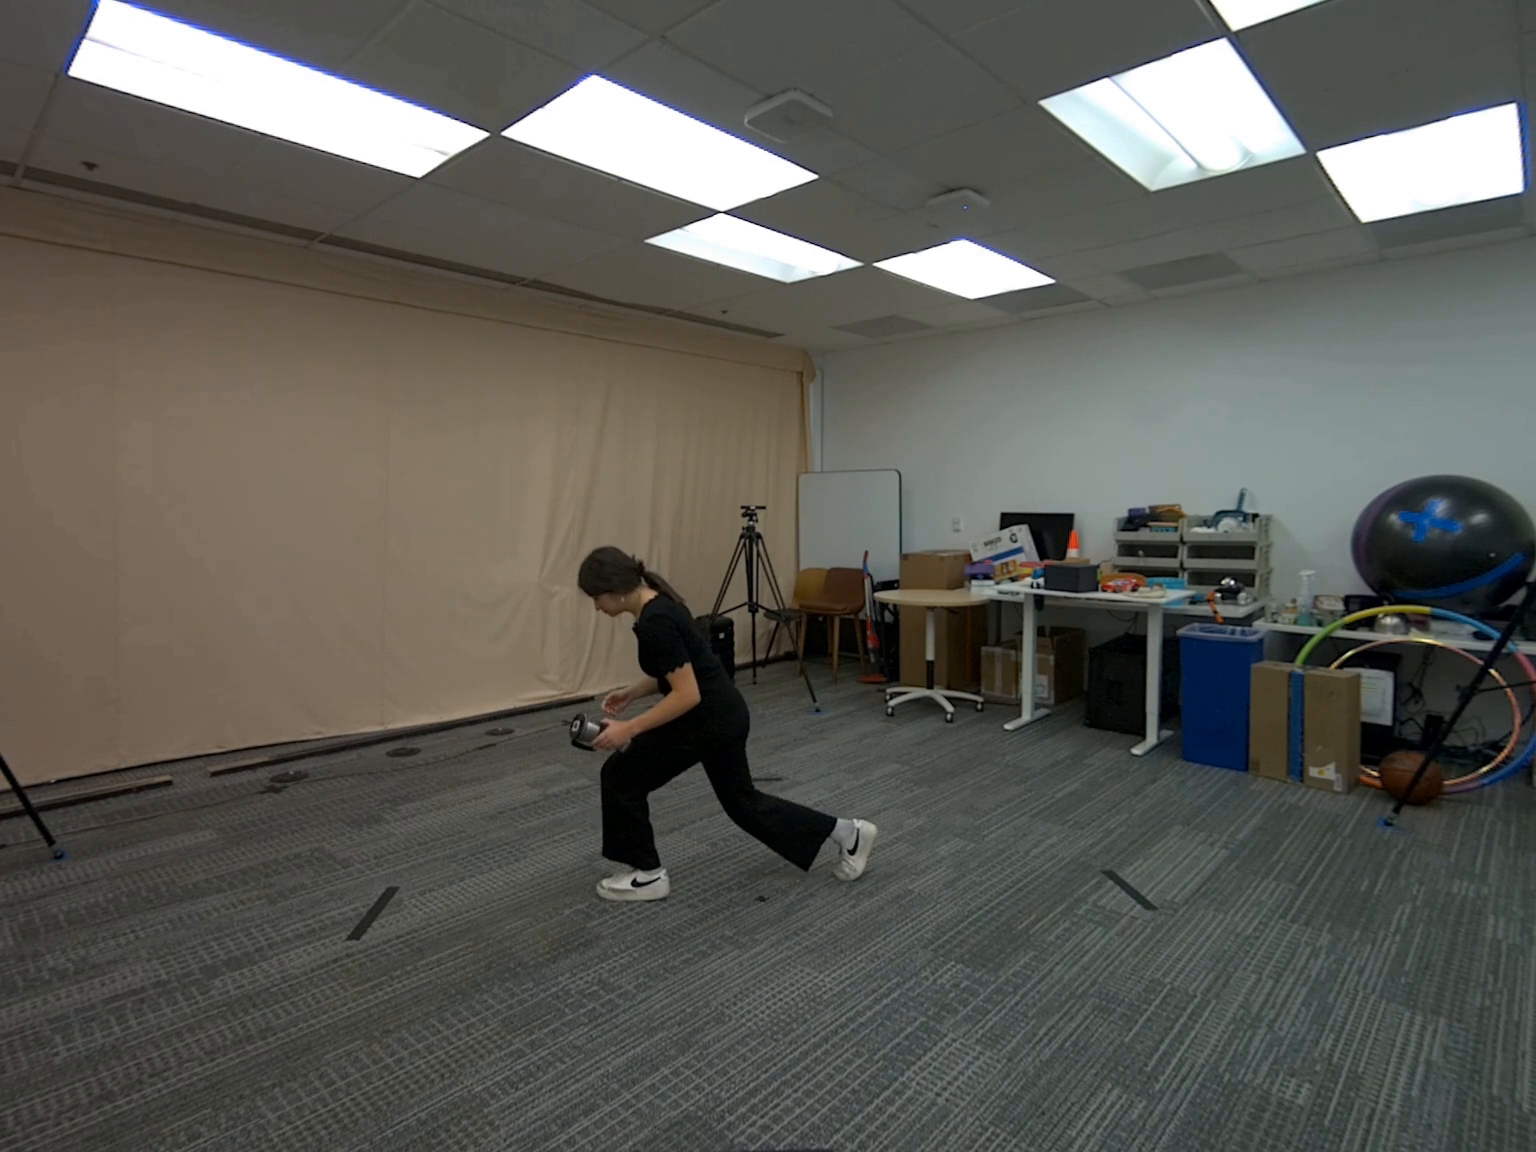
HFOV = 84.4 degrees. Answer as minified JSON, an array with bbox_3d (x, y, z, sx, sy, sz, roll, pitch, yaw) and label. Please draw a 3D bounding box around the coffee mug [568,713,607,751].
[{"bbox_3d":[-0.568,0.534,2.844,0.197,0.089,0.124,25,-39,-29],"label":"coffee mug"}]
